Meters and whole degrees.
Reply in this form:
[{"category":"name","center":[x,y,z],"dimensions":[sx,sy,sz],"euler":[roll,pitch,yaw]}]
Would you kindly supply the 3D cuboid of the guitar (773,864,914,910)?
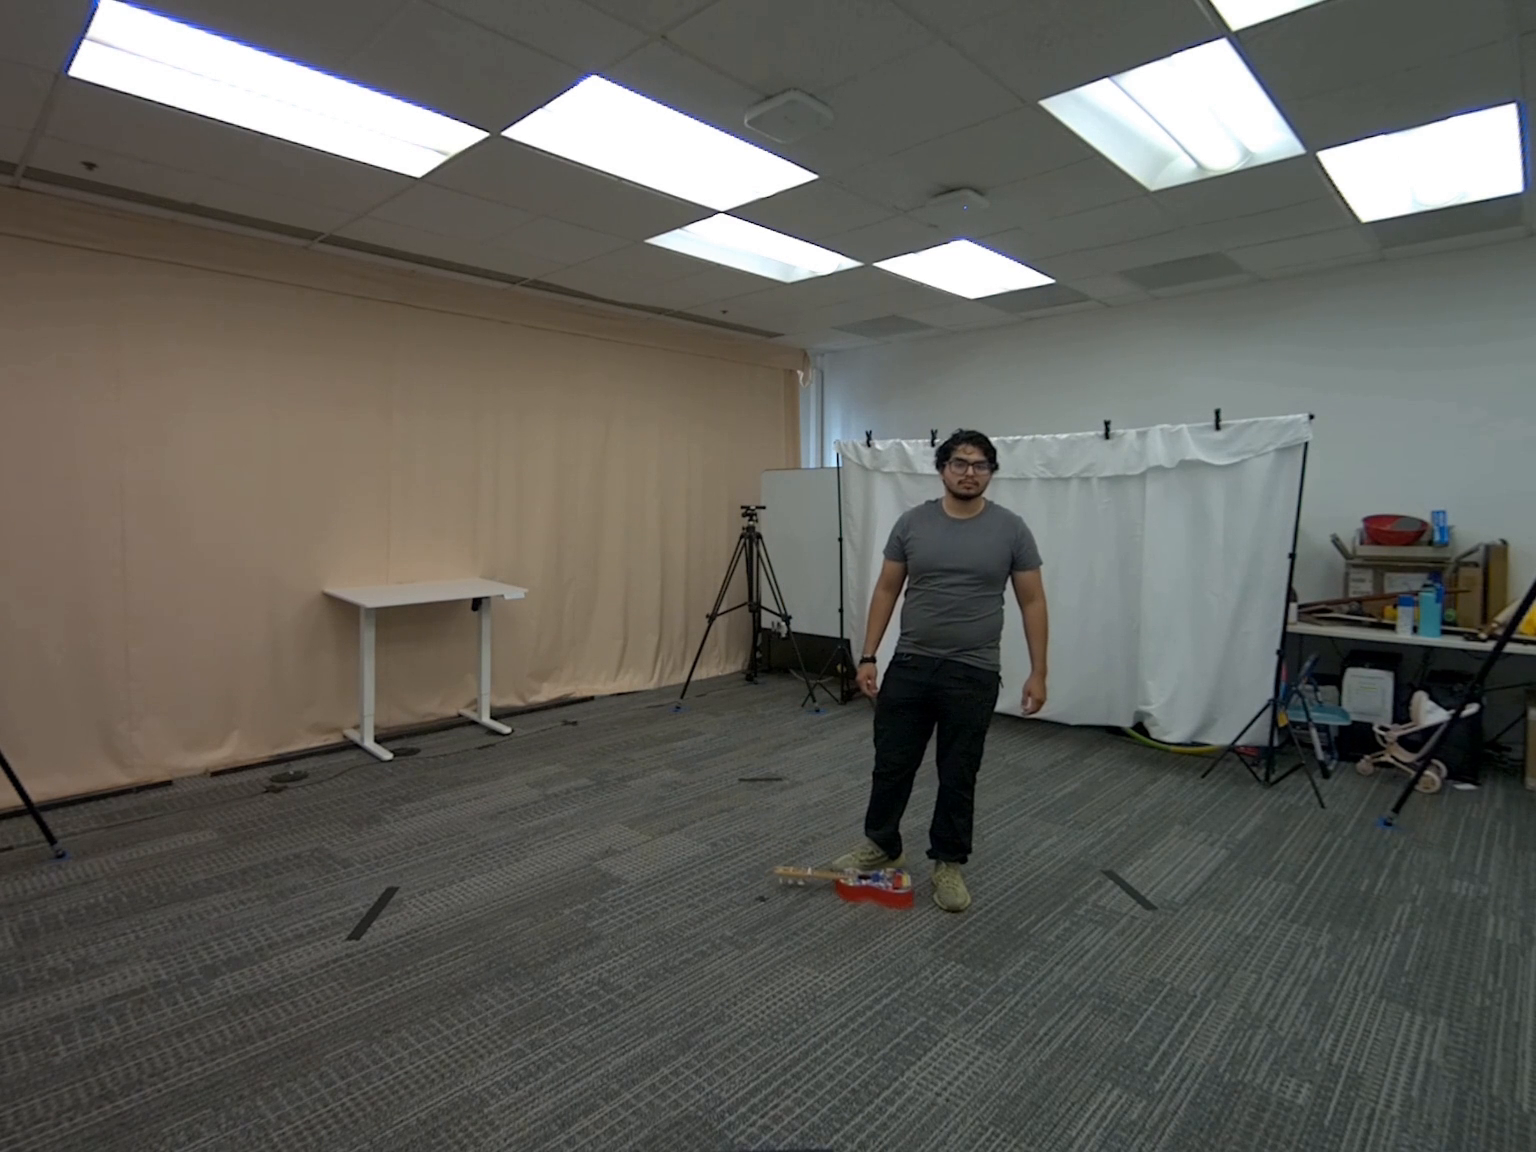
[{"category":"guitar","center":[0.282,1.104,3.058],"dimensions":[0.508,0.070,0.190],"euler":[2,6,19]}]
